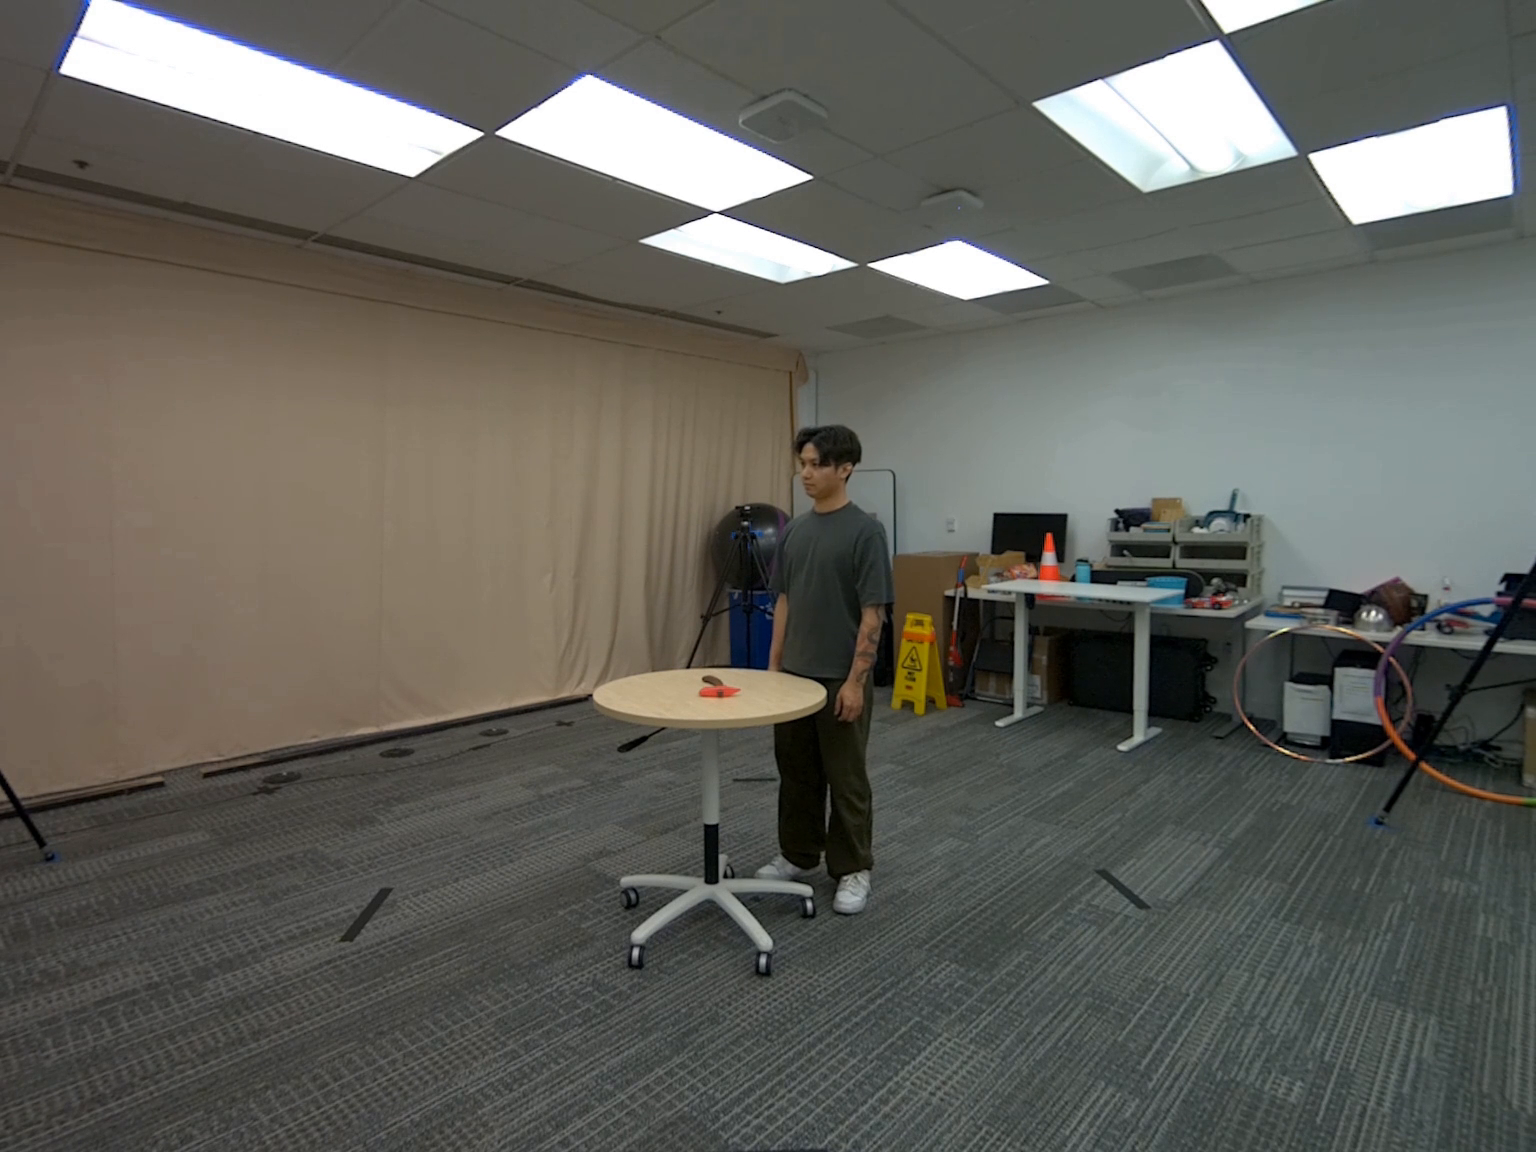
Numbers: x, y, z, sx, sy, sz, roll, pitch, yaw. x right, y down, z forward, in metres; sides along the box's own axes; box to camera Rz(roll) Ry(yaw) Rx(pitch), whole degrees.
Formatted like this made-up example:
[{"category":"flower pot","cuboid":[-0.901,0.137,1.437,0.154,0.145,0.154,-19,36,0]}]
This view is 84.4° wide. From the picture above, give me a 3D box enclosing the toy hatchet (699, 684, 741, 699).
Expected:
[{"category":"toy hatchet","cuboid":[-0.189,0.368,2.780,0.128,0.029,0.276,-7,5,-22]}]
